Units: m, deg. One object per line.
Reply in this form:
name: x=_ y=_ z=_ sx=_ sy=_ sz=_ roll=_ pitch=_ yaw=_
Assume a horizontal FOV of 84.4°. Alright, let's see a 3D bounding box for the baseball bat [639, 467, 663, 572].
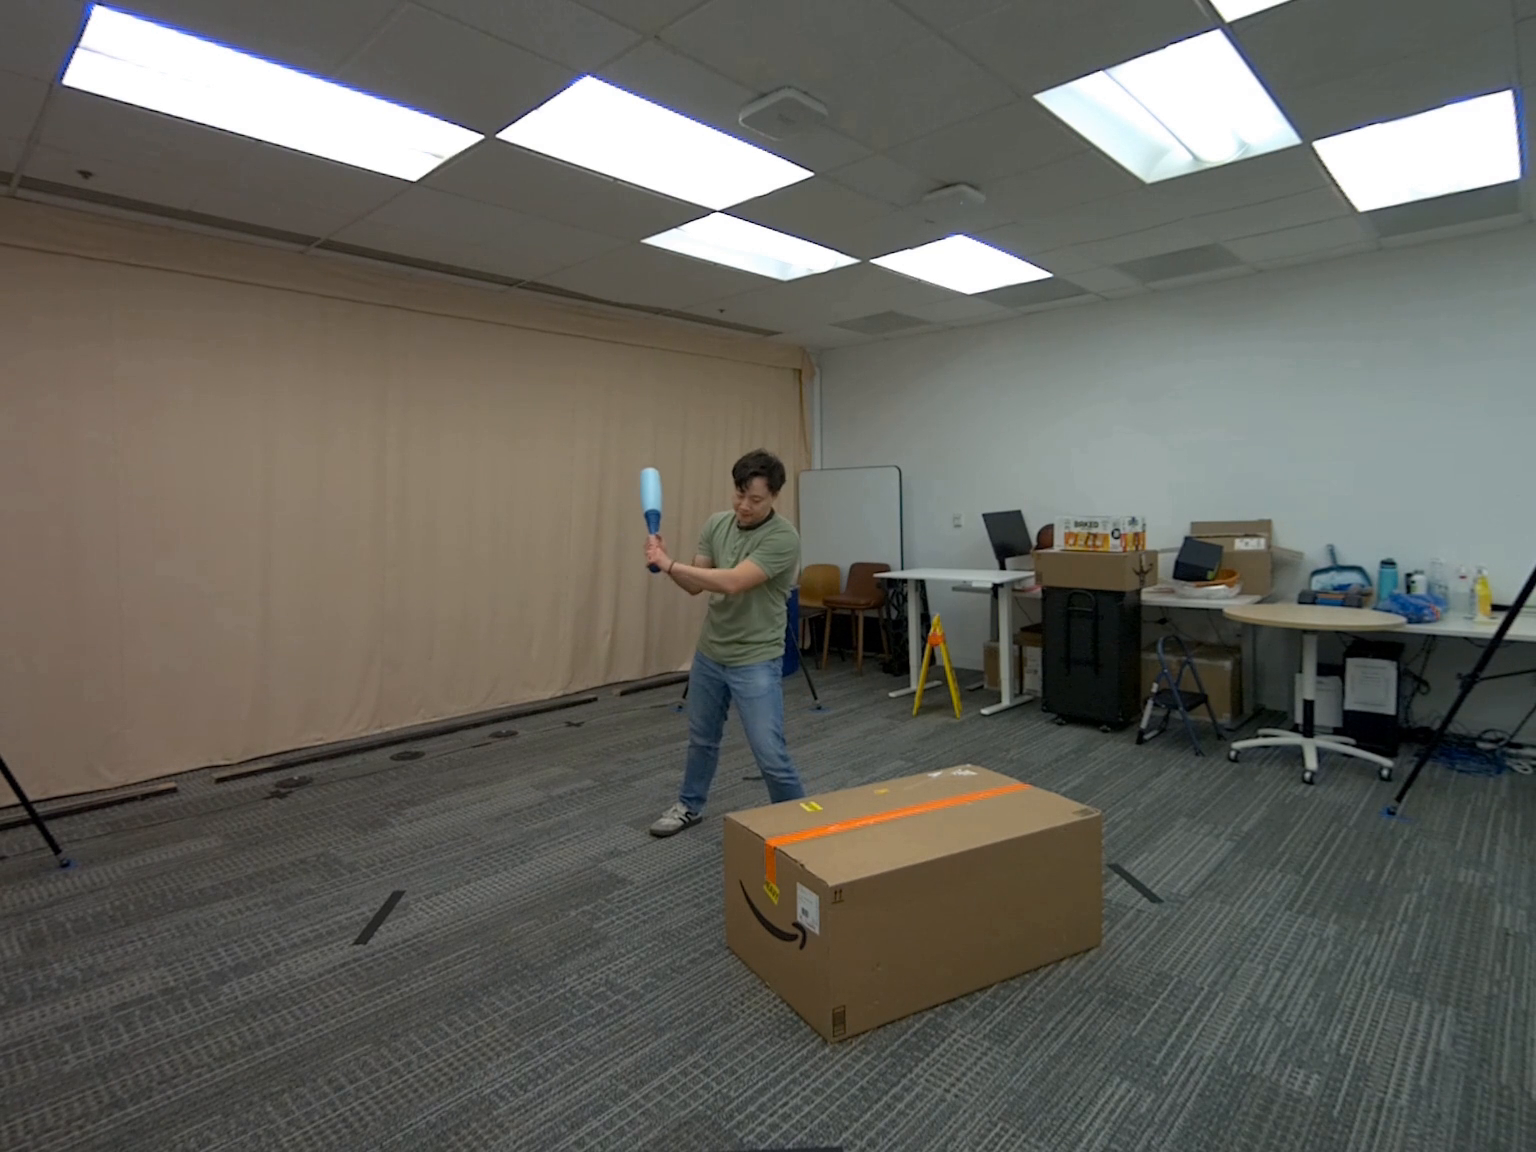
baseball bat: x=-0.424 y=-0.211 z=3.317 sx=0.088 sy=0.088 sz=0.557 roll=-2 pitch=48 yaw=-14
